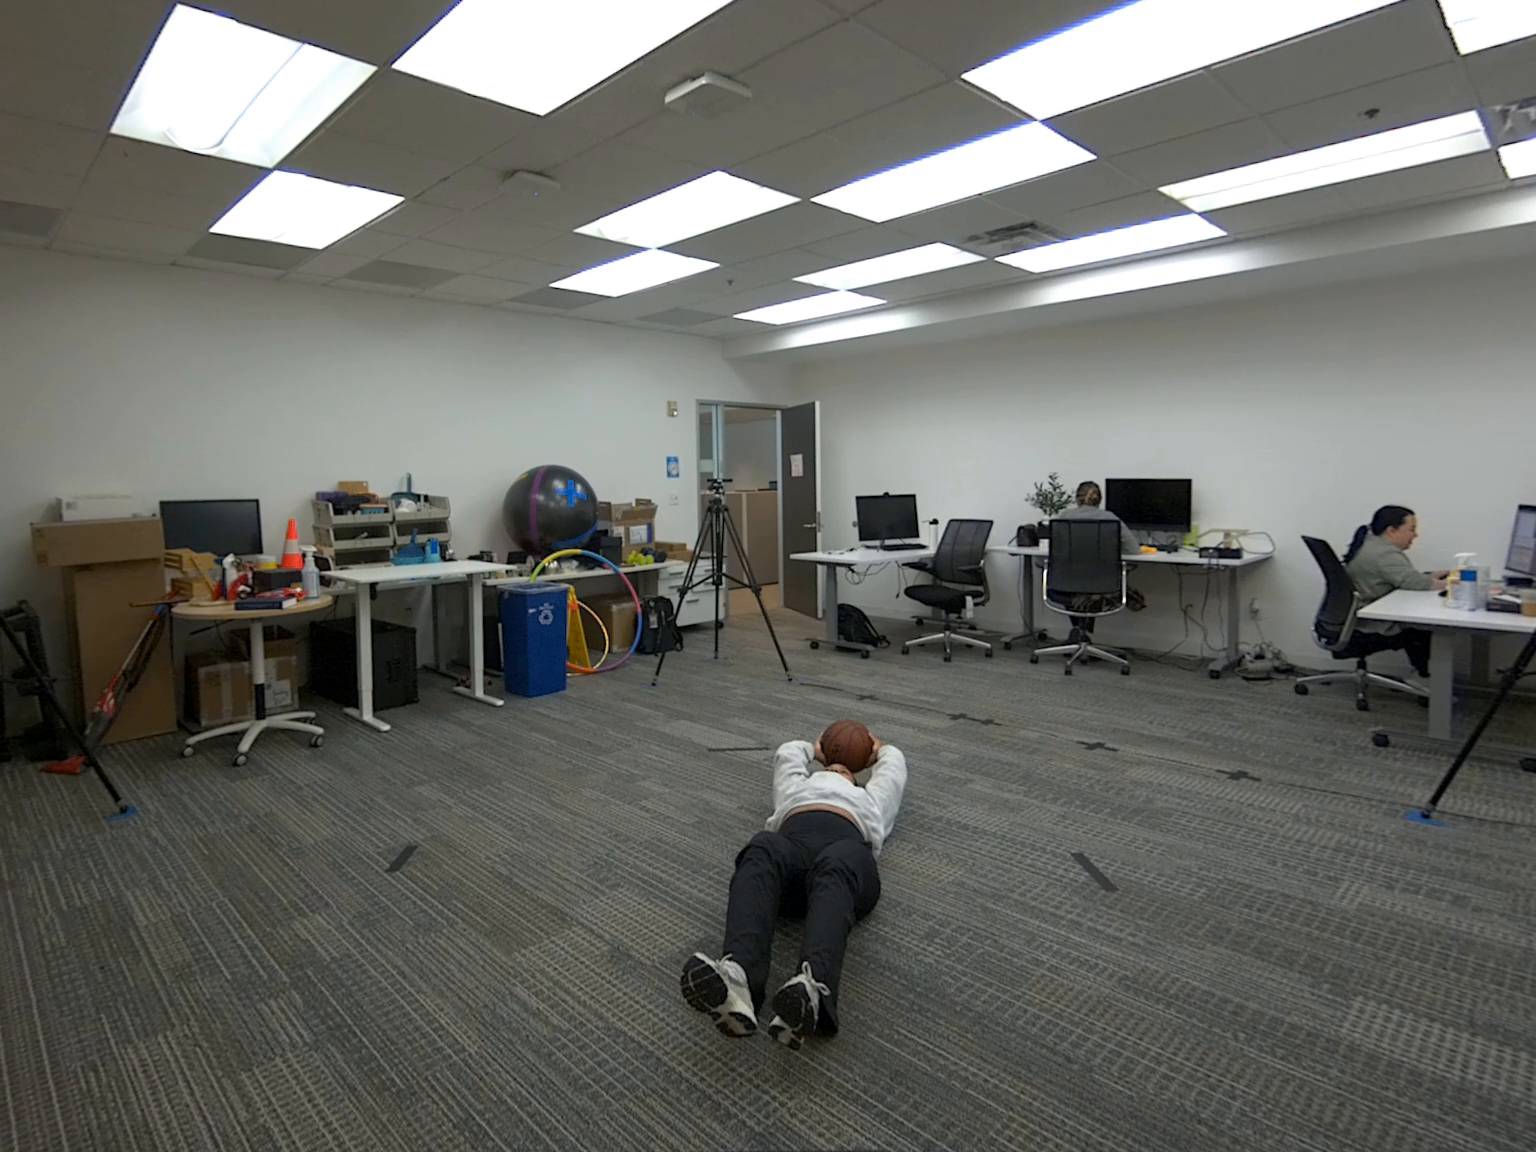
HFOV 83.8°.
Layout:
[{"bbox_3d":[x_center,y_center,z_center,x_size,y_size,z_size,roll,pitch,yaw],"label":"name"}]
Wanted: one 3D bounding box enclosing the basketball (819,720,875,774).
[{"bbox_3d":[0.358,0.762,3.842,0.236,0.235,0.237,-1,4,-2],"label":"basketball"}]
